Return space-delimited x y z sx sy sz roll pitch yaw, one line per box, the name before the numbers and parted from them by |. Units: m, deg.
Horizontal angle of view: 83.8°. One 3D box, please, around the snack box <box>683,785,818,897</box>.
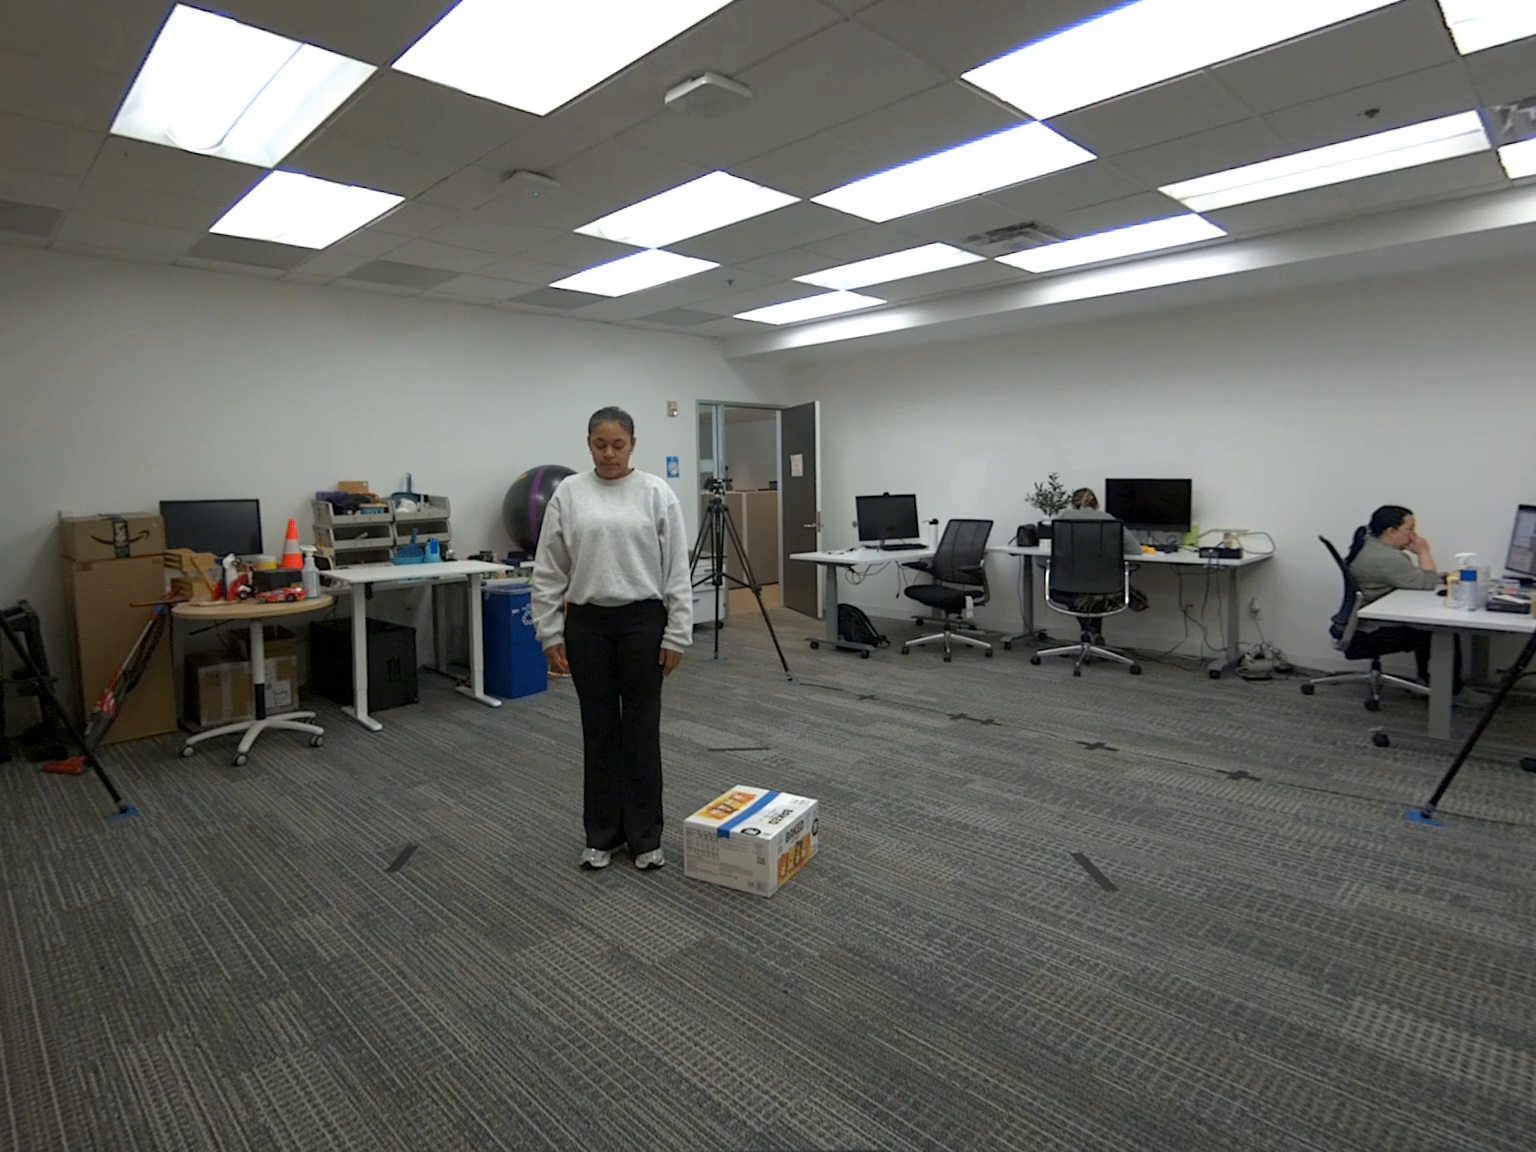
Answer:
snack box | -0.051 0.947 3.090 0.349 0.205 0.397 2 6 29
